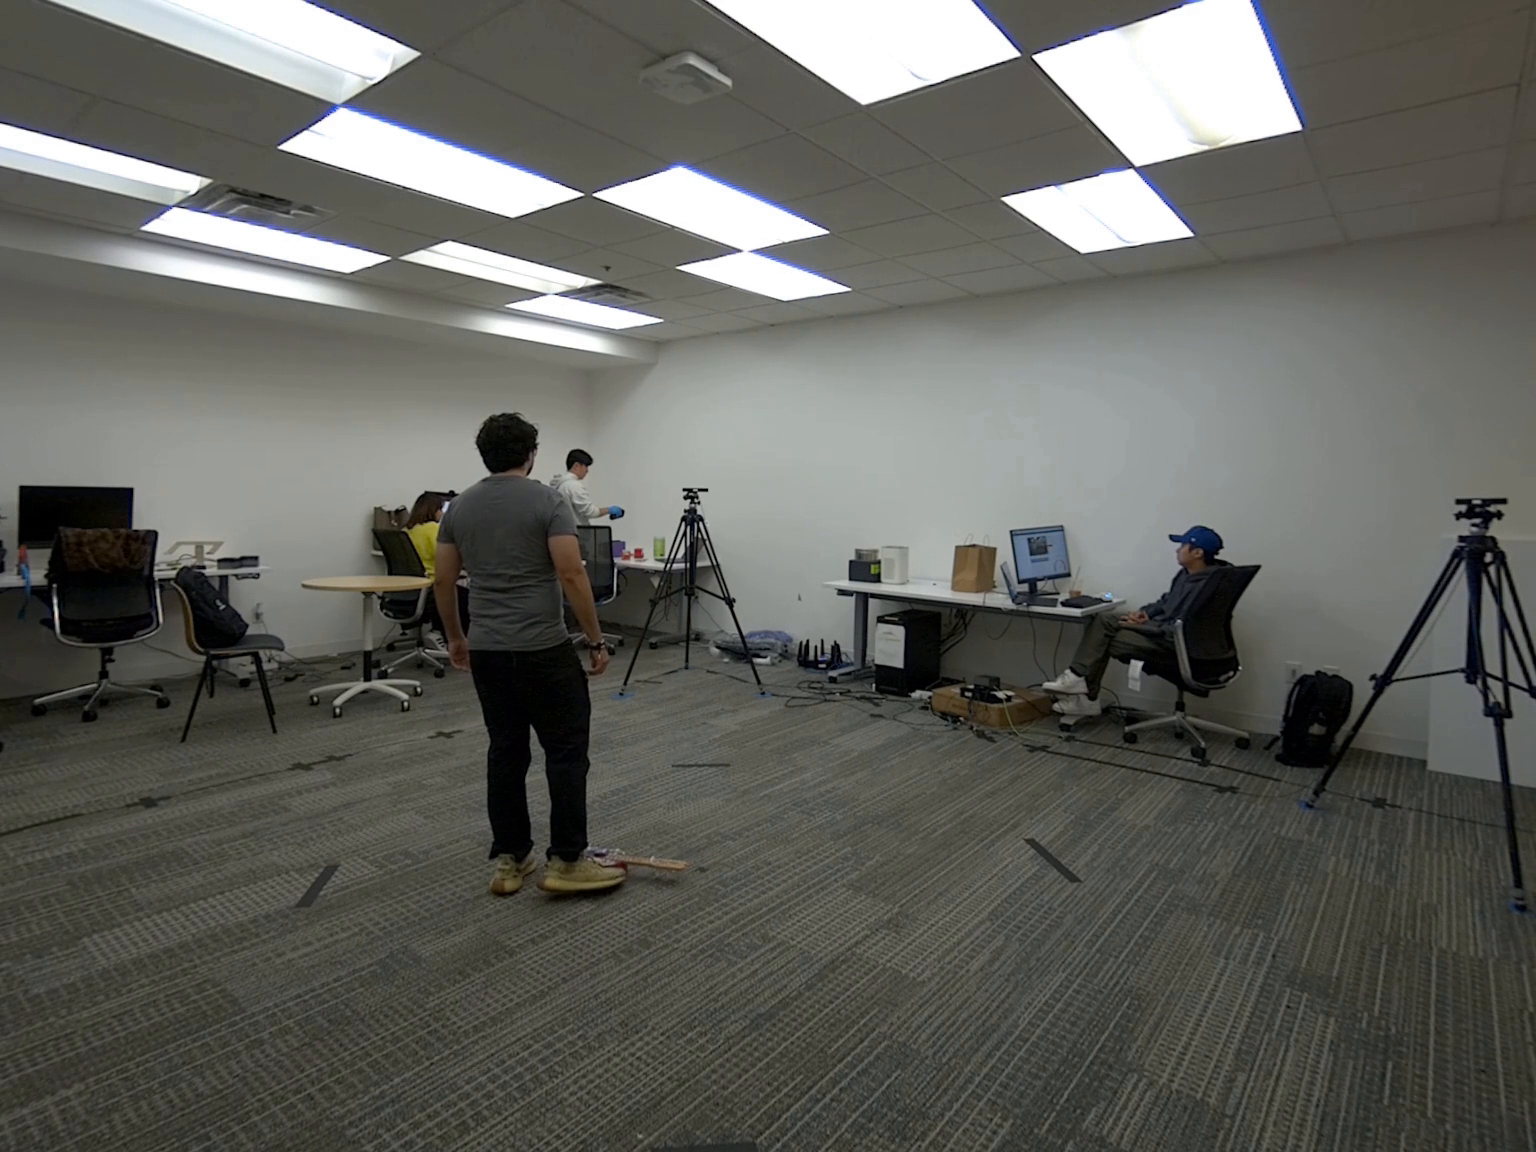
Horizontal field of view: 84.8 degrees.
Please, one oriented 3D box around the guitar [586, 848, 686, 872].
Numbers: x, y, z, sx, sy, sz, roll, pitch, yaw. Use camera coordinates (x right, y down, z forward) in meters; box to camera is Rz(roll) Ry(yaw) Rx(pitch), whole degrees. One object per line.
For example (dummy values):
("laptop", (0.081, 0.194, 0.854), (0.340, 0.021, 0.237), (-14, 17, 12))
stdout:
("guitar", (-0.555, 1.040, 3.031), (0.509, 0.070, 0.189), (2, 4, 21))
